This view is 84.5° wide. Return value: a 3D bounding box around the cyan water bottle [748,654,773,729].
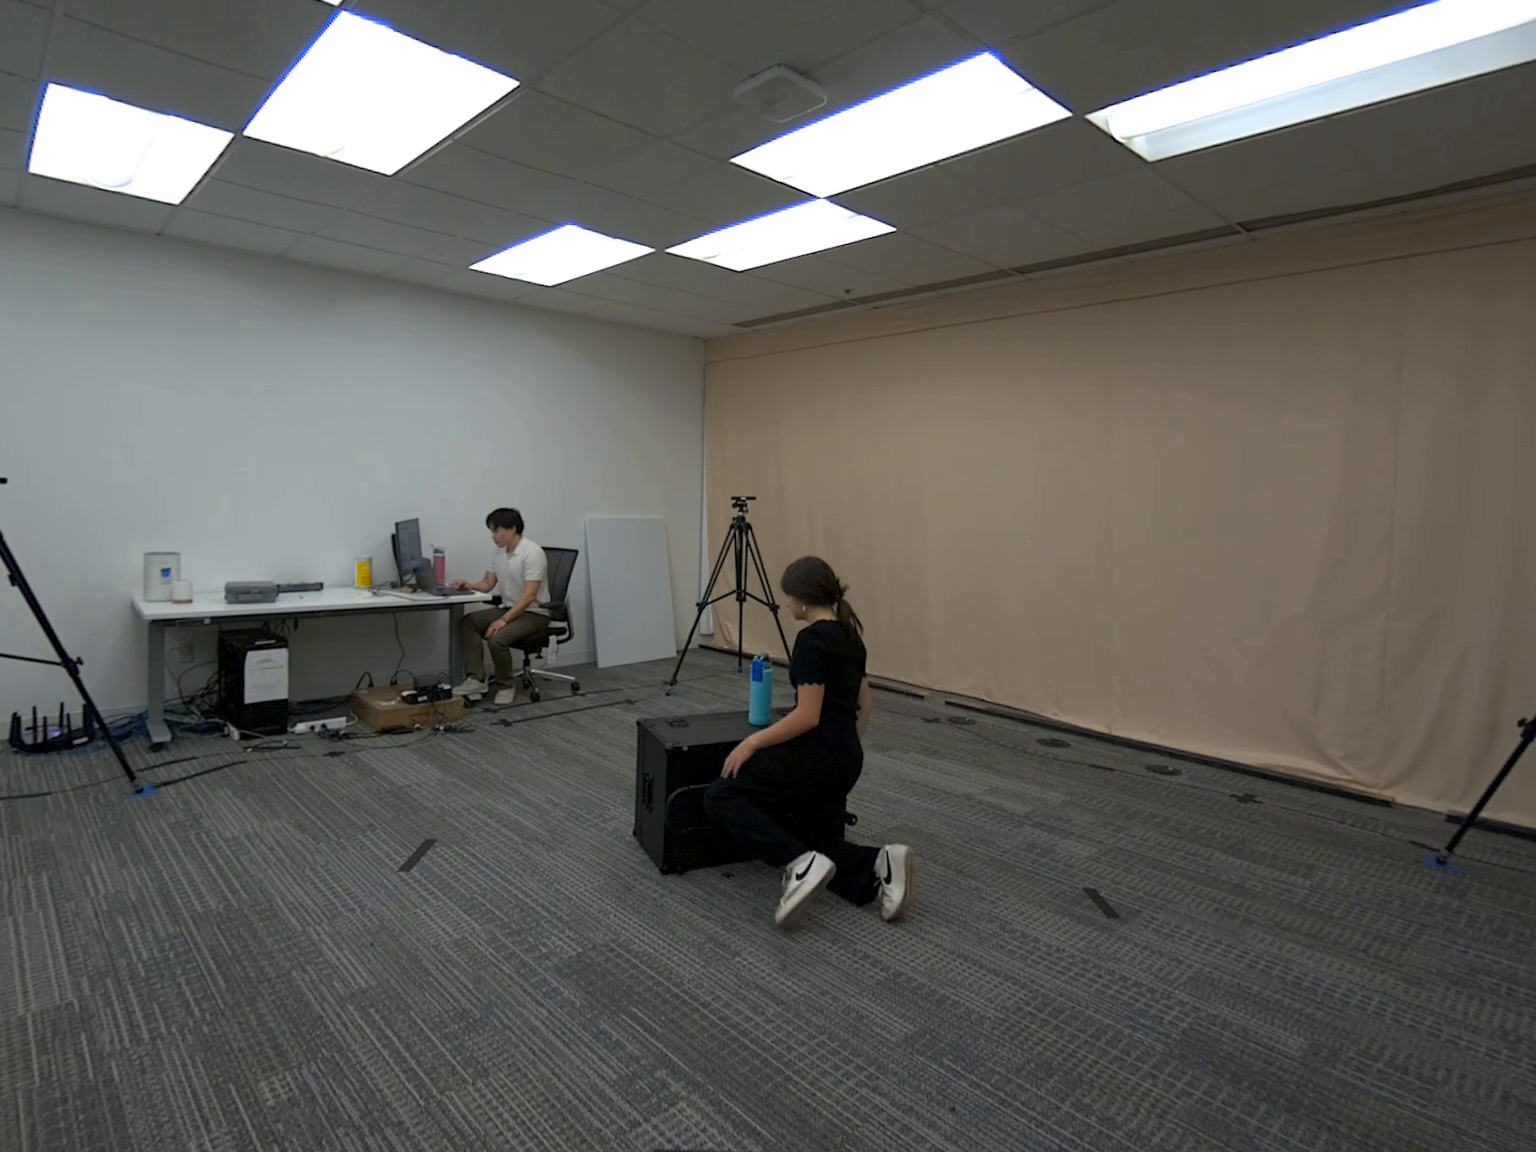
[{"bbox_3d":[-0.035,0.452,3.405,0.092,0.282,0.093,2,5,-2],"label":"cyan water bottle"}]
